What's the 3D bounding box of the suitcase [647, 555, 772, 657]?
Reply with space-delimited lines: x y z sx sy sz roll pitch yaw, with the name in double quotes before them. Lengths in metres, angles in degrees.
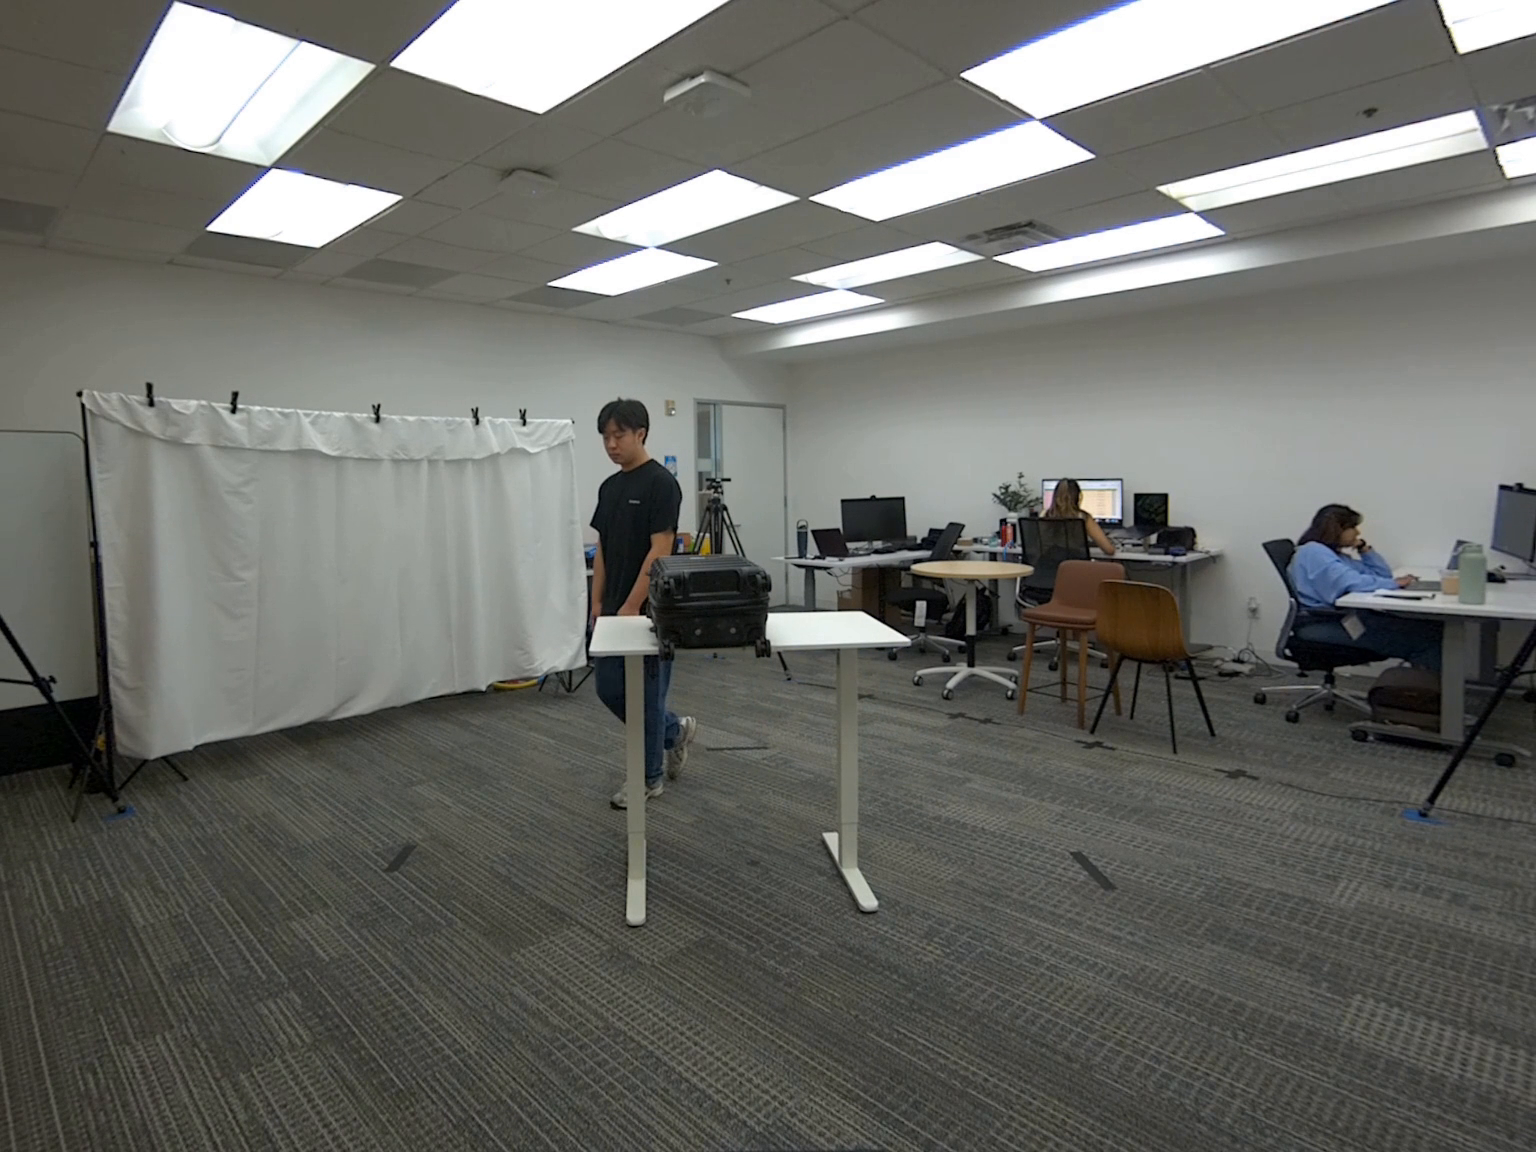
"suitcase" -0.240 0.052 2.994 0.380 0.255 0.994 -3 9 -11
